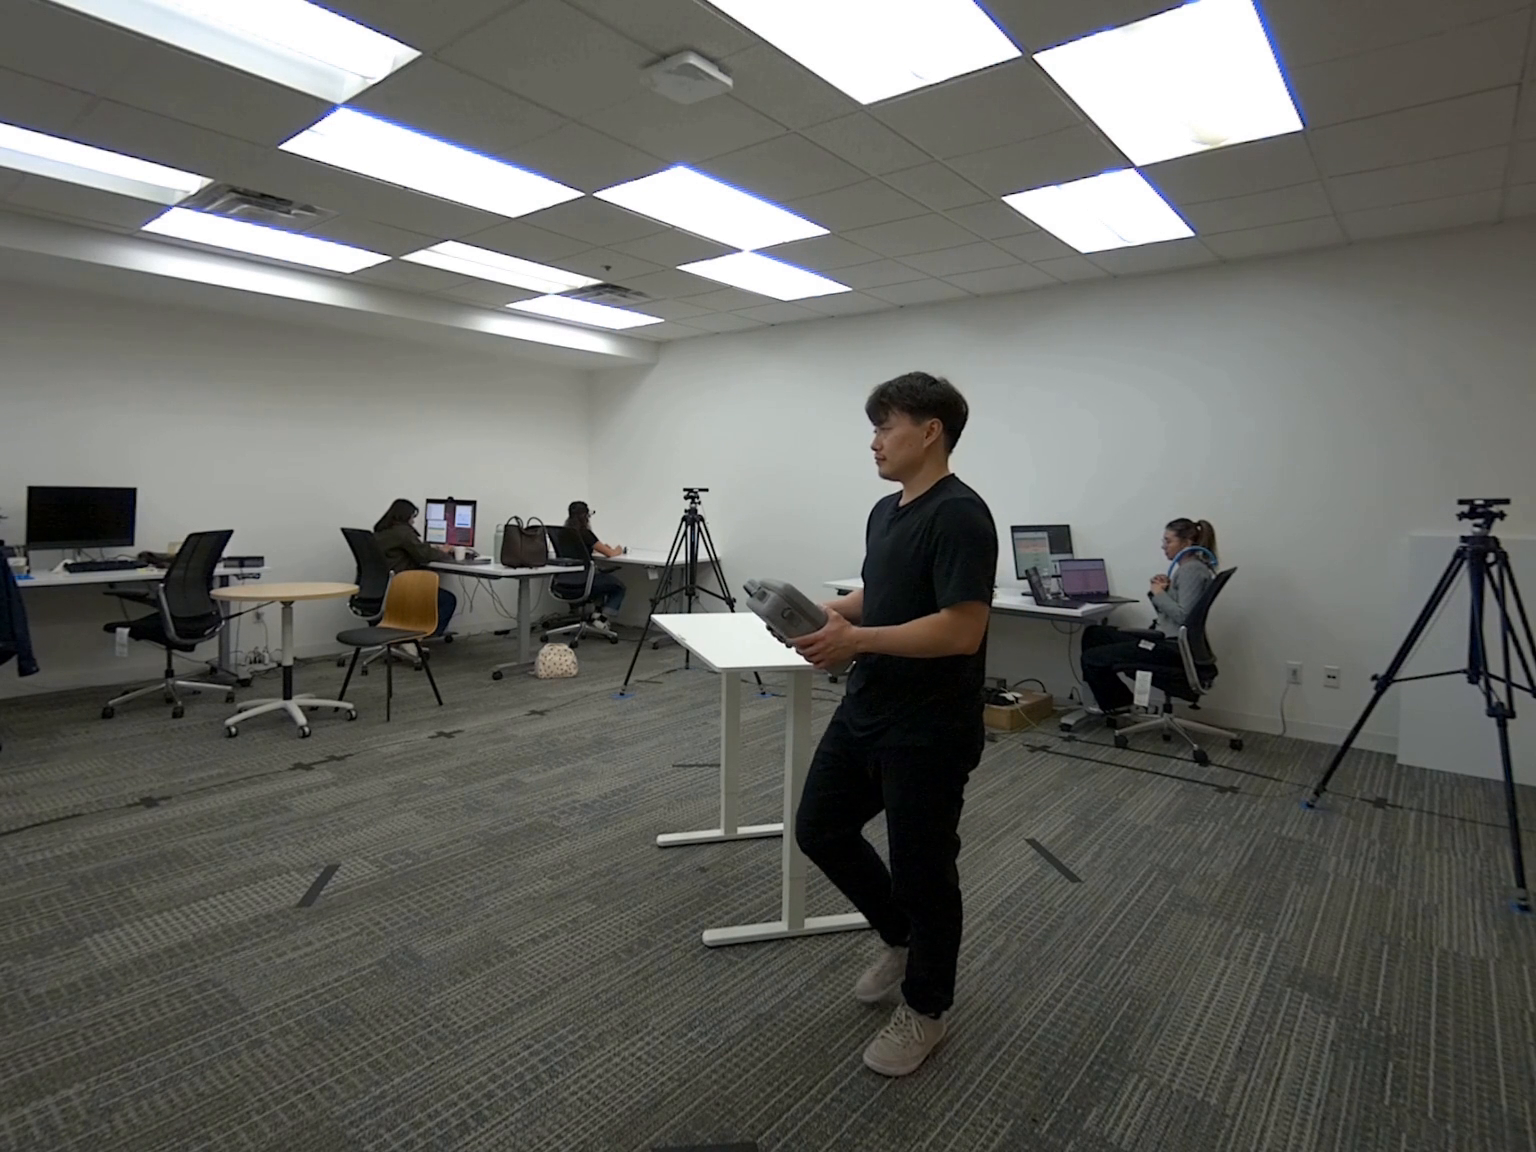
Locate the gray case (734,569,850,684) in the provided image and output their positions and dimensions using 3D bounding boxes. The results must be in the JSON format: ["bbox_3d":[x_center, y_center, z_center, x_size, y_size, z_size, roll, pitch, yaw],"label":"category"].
[{"bbox_3d":[0.070,0.114,2.049,0.257,0.104,0.260,41,-5,-10],"label":"gray case"}]
